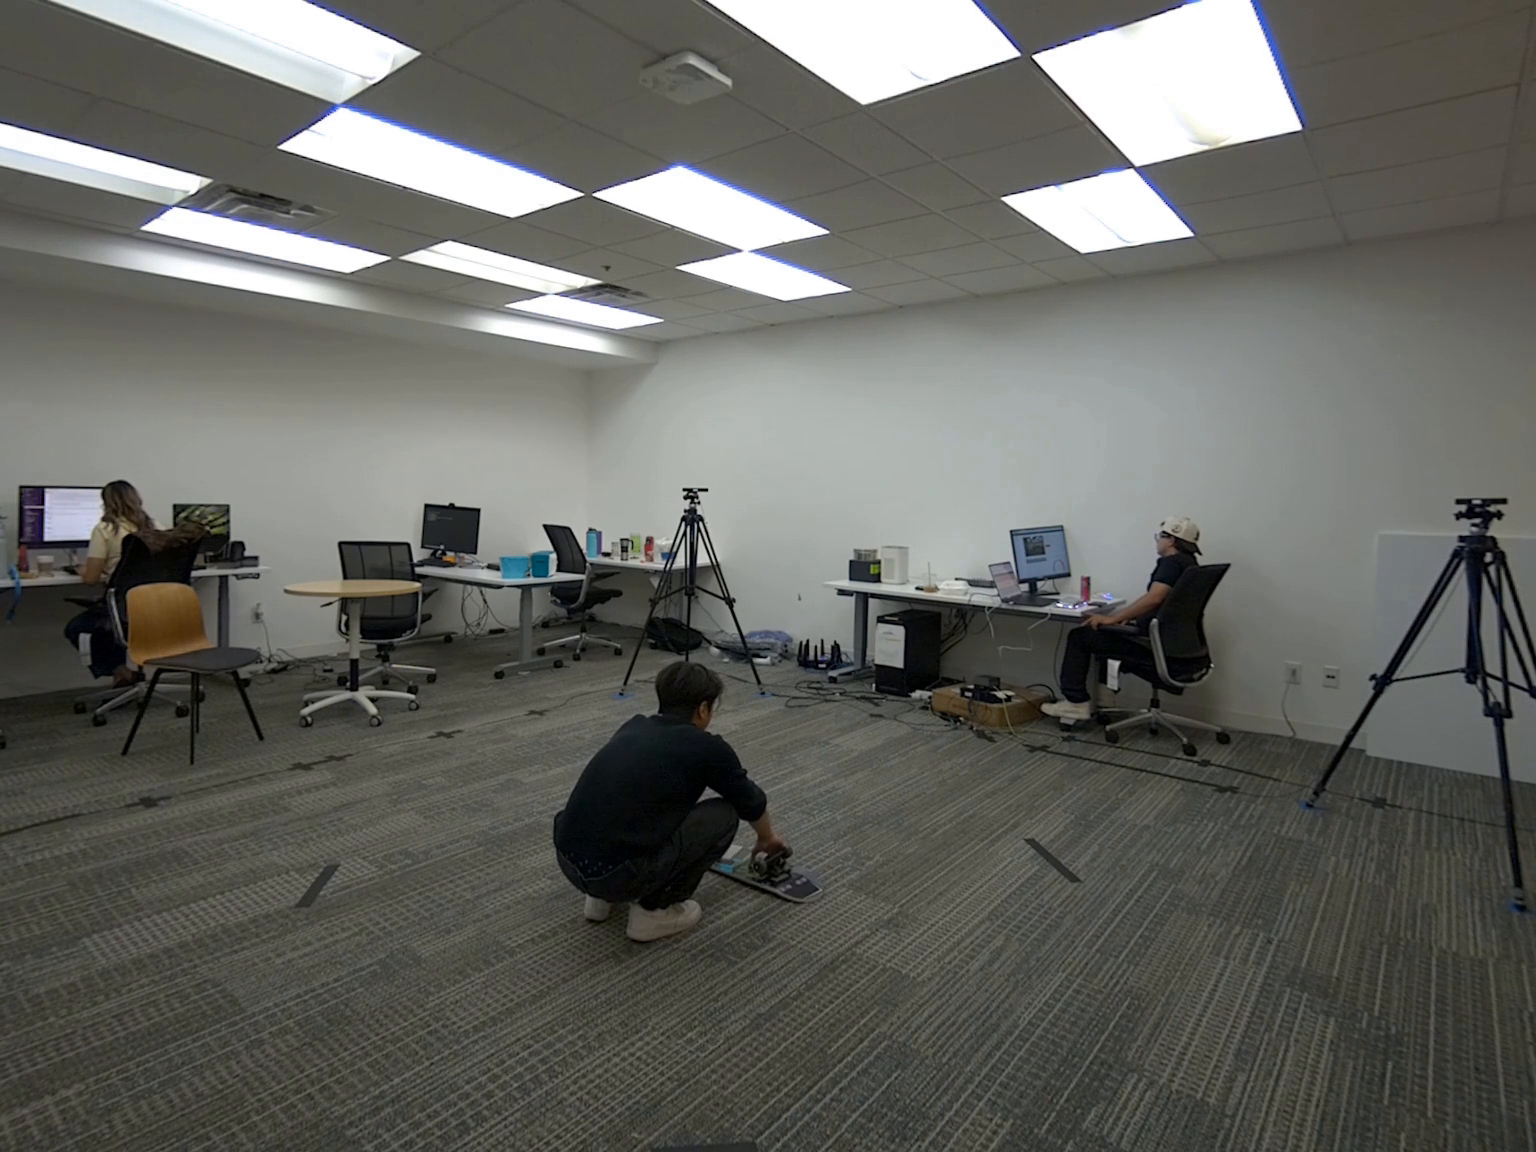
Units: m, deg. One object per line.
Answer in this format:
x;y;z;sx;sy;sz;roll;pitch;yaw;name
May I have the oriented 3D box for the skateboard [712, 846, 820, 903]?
-0.149;1.017;3.153;0.812;0.110;0.188;5;8;40;skateboard
